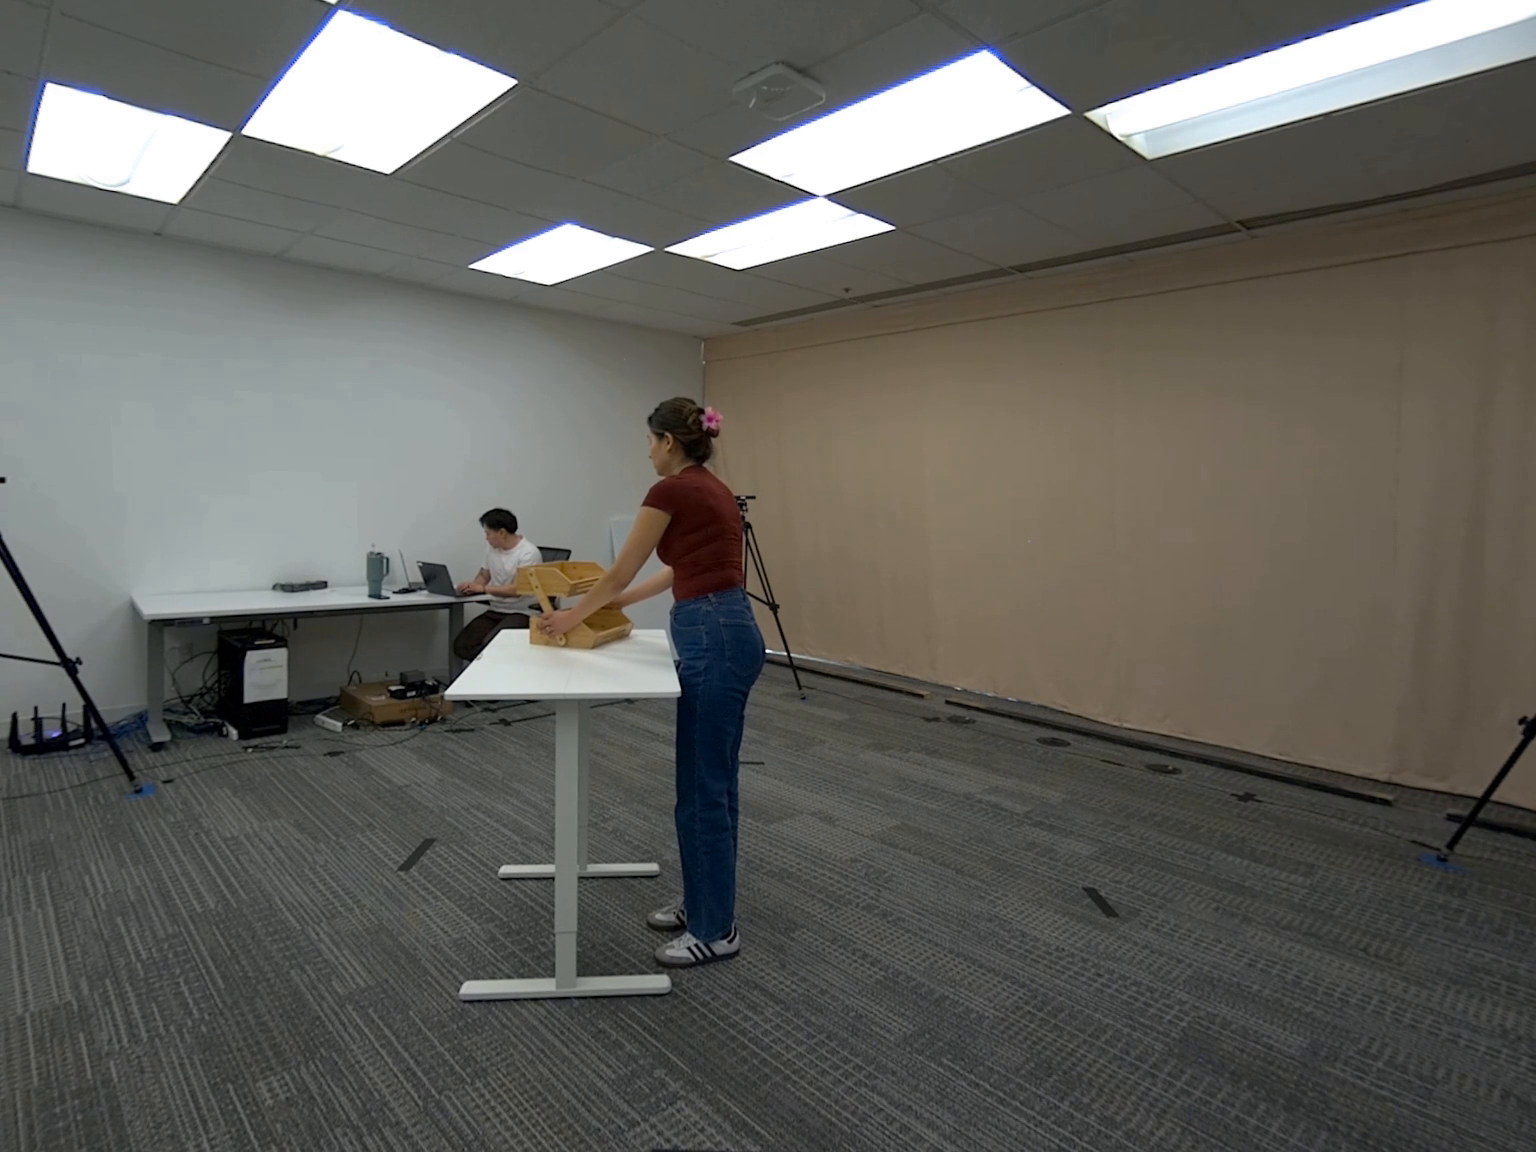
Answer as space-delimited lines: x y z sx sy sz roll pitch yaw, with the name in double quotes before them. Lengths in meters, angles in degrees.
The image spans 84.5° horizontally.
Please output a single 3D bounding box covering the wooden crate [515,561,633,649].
"wooden crate" -0.659 0.092 2.934 0.306 0.272 0.321 3 4 16
